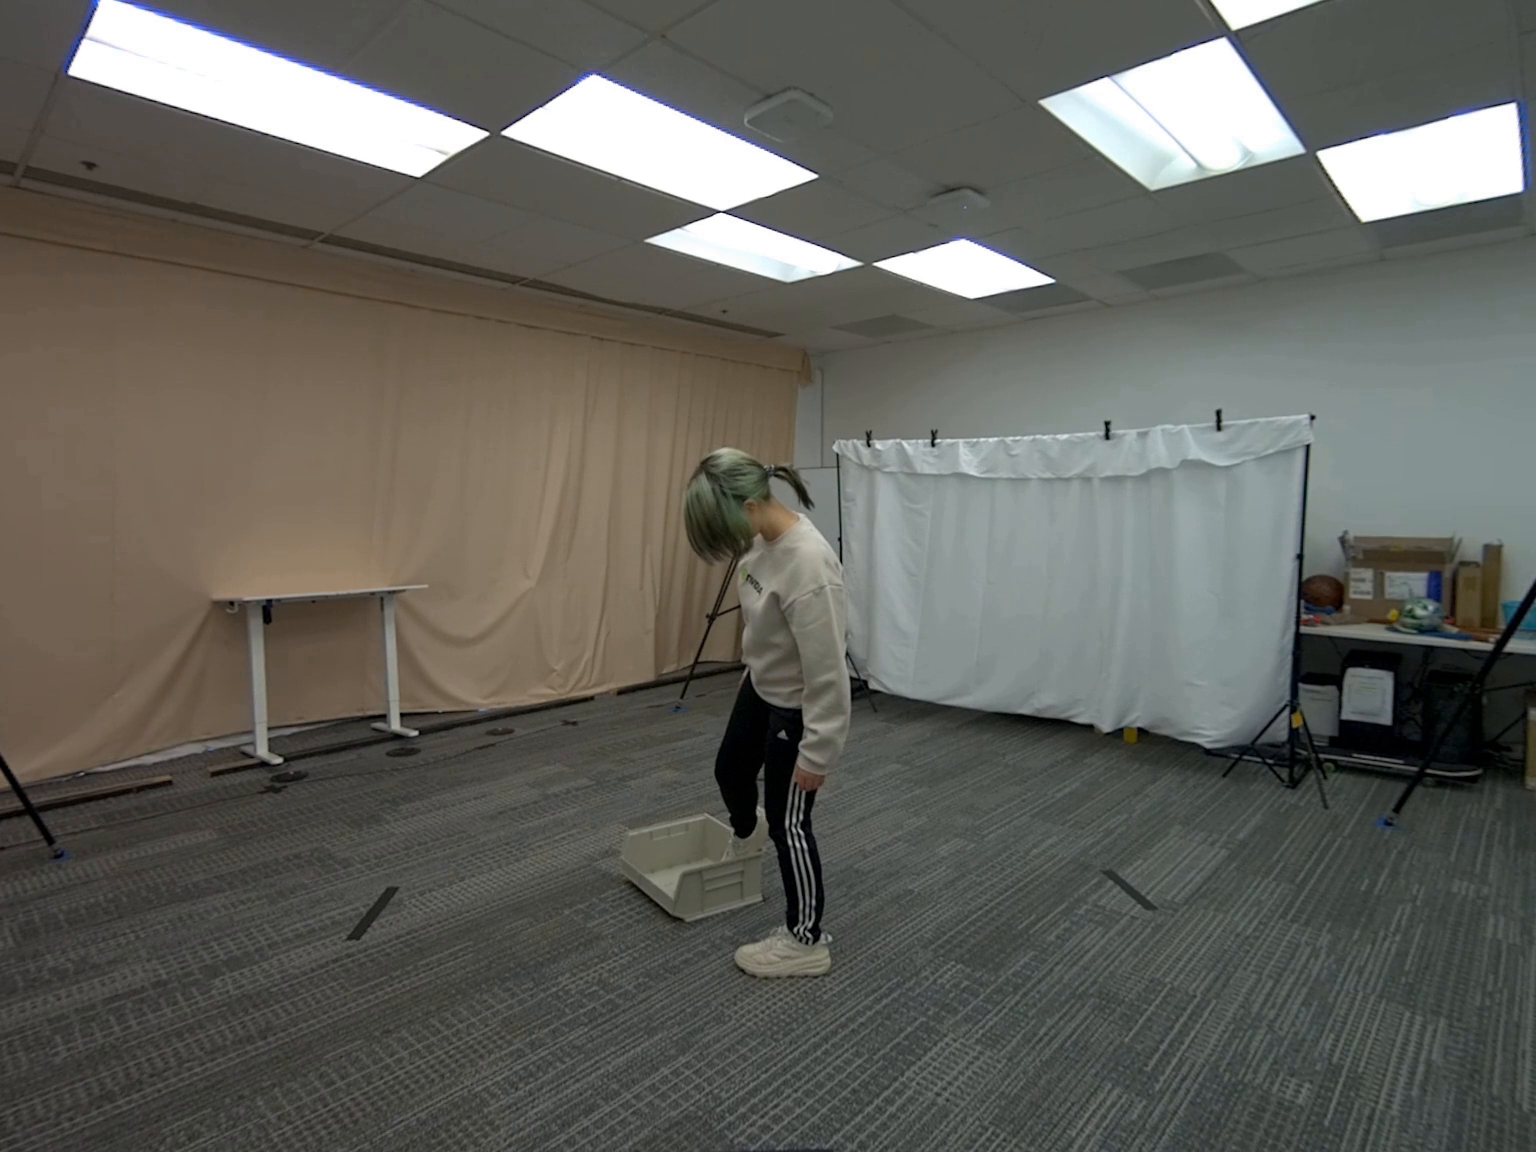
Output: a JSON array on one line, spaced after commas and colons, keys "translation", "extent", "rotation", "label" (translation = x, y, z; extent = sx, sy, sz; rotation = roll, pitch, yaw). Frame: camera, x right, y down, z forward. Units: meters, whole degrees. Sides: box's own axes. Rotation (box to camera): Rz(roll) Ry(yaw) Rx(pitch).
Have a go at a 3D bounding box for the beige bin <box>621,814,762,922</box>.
[{"translation": [-0.275, 1.048, 3.049], "extent": [0.366, 0.189, 0.435], "rotation": [-1, 4, -34], "label": "beige bin"}]
